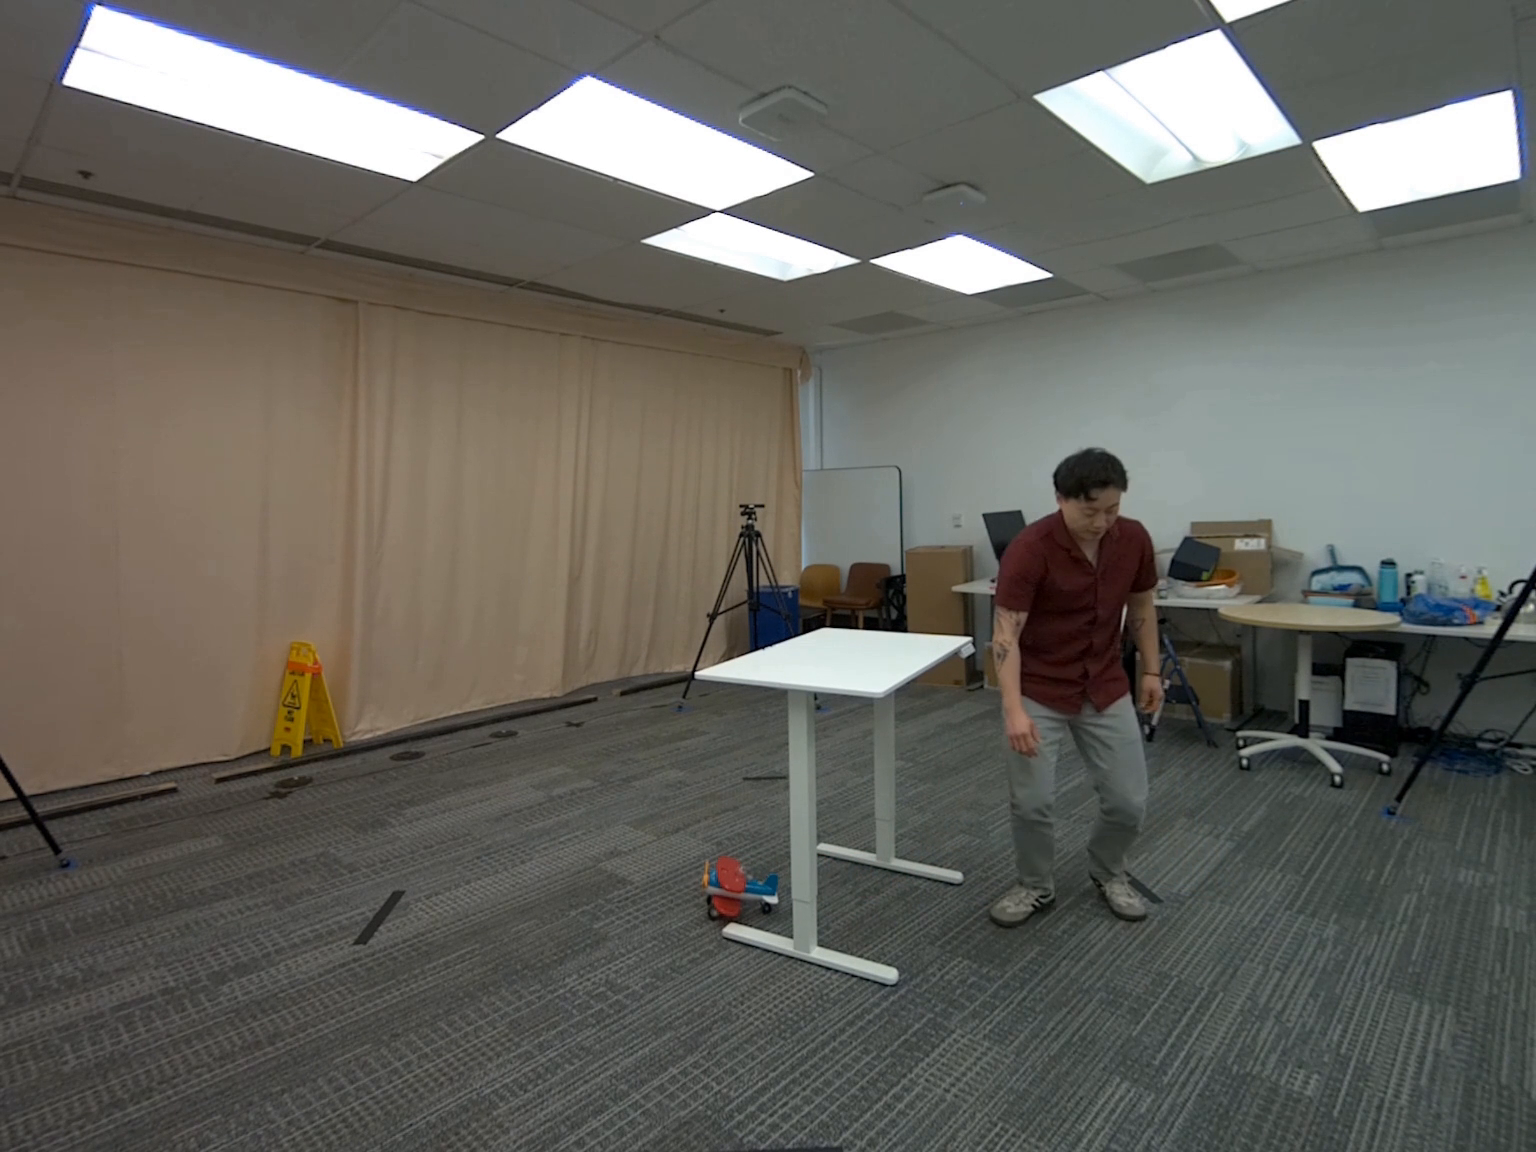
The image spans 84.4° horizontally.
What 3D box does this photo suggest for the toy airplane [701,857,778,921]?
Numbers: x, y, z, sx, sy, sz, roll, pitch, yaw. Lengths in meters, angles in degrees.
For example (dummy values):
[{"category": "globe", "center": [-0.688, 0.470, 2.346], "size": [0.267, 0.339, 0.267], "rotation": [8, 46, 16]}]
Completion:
[{"category": "toy airplane", "center": [-0.098, 1.075, 2.889], "size": [0.252, 0.156, 0.259], "rotation": [-5, 6, -31]}]
